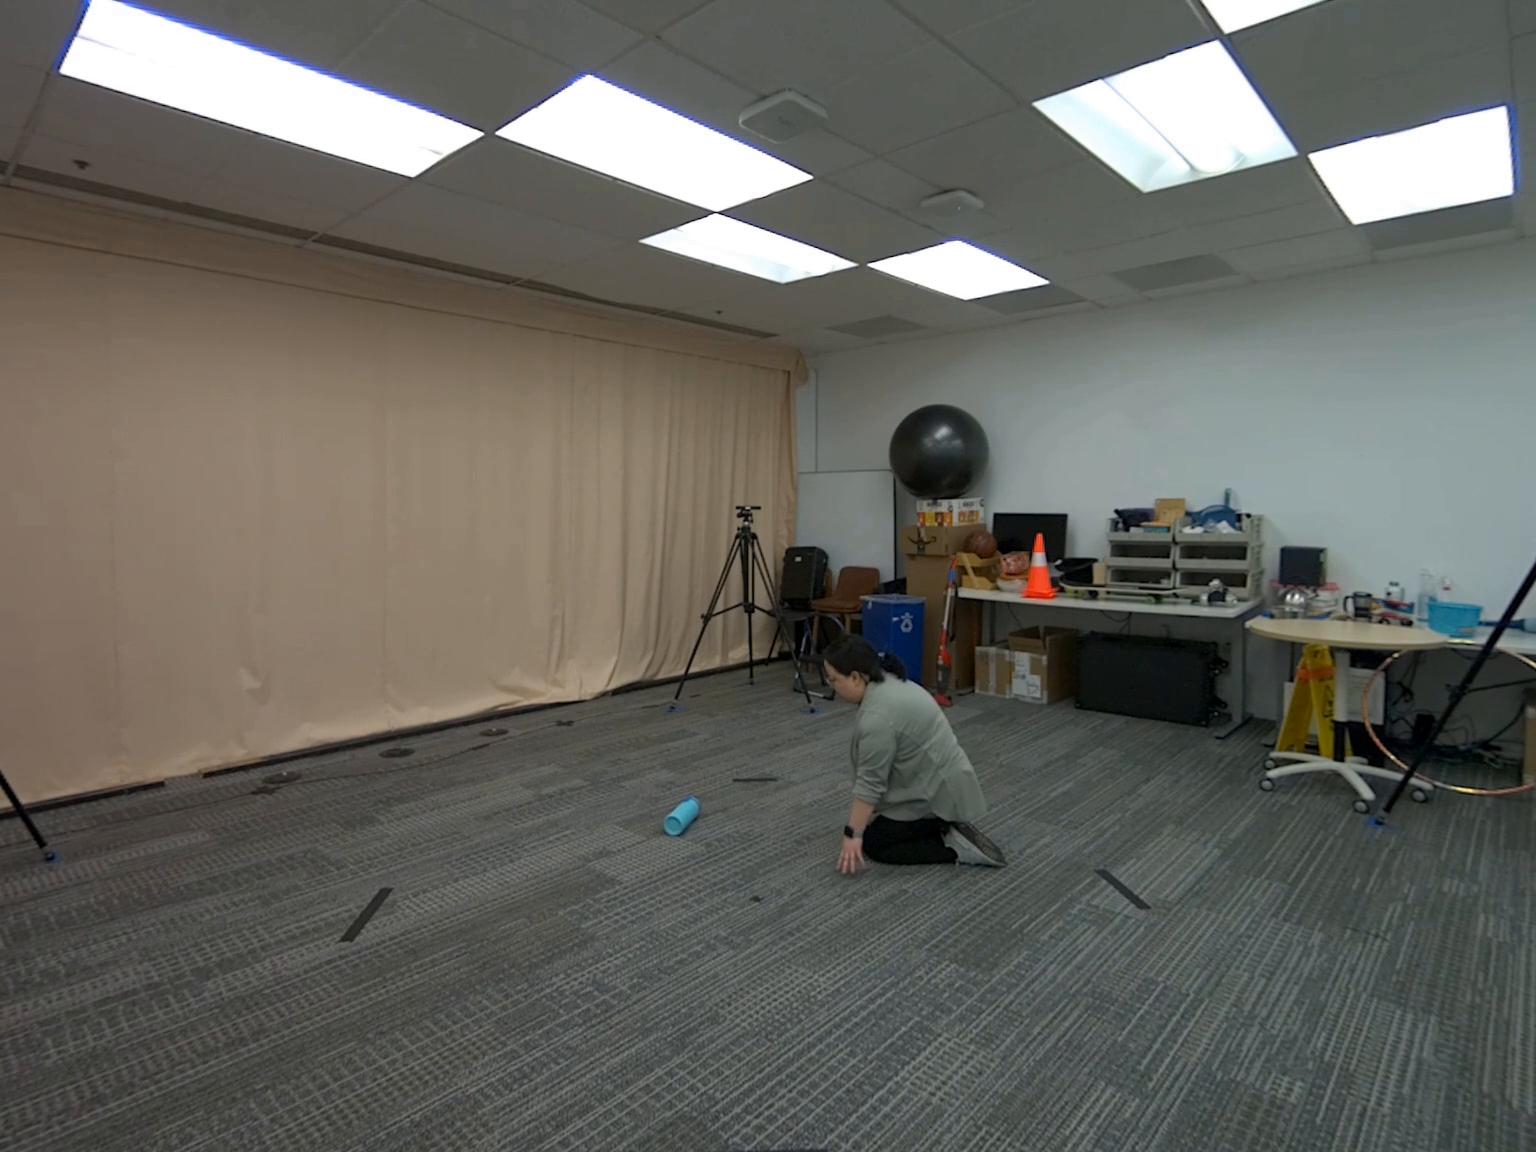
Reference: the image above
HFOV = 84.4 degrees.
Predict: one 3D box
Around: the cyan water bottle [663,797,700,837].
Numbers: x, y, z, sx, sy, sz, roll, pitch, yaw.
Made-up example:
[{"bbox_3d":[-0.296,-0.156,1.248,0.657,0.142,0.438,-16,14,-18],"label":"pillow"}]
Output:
[{"bbox_3d":[-0.364,1.045,3.696,0.094,0.092,0.279,1,5,14],"label":"cyan water bottle"}]
